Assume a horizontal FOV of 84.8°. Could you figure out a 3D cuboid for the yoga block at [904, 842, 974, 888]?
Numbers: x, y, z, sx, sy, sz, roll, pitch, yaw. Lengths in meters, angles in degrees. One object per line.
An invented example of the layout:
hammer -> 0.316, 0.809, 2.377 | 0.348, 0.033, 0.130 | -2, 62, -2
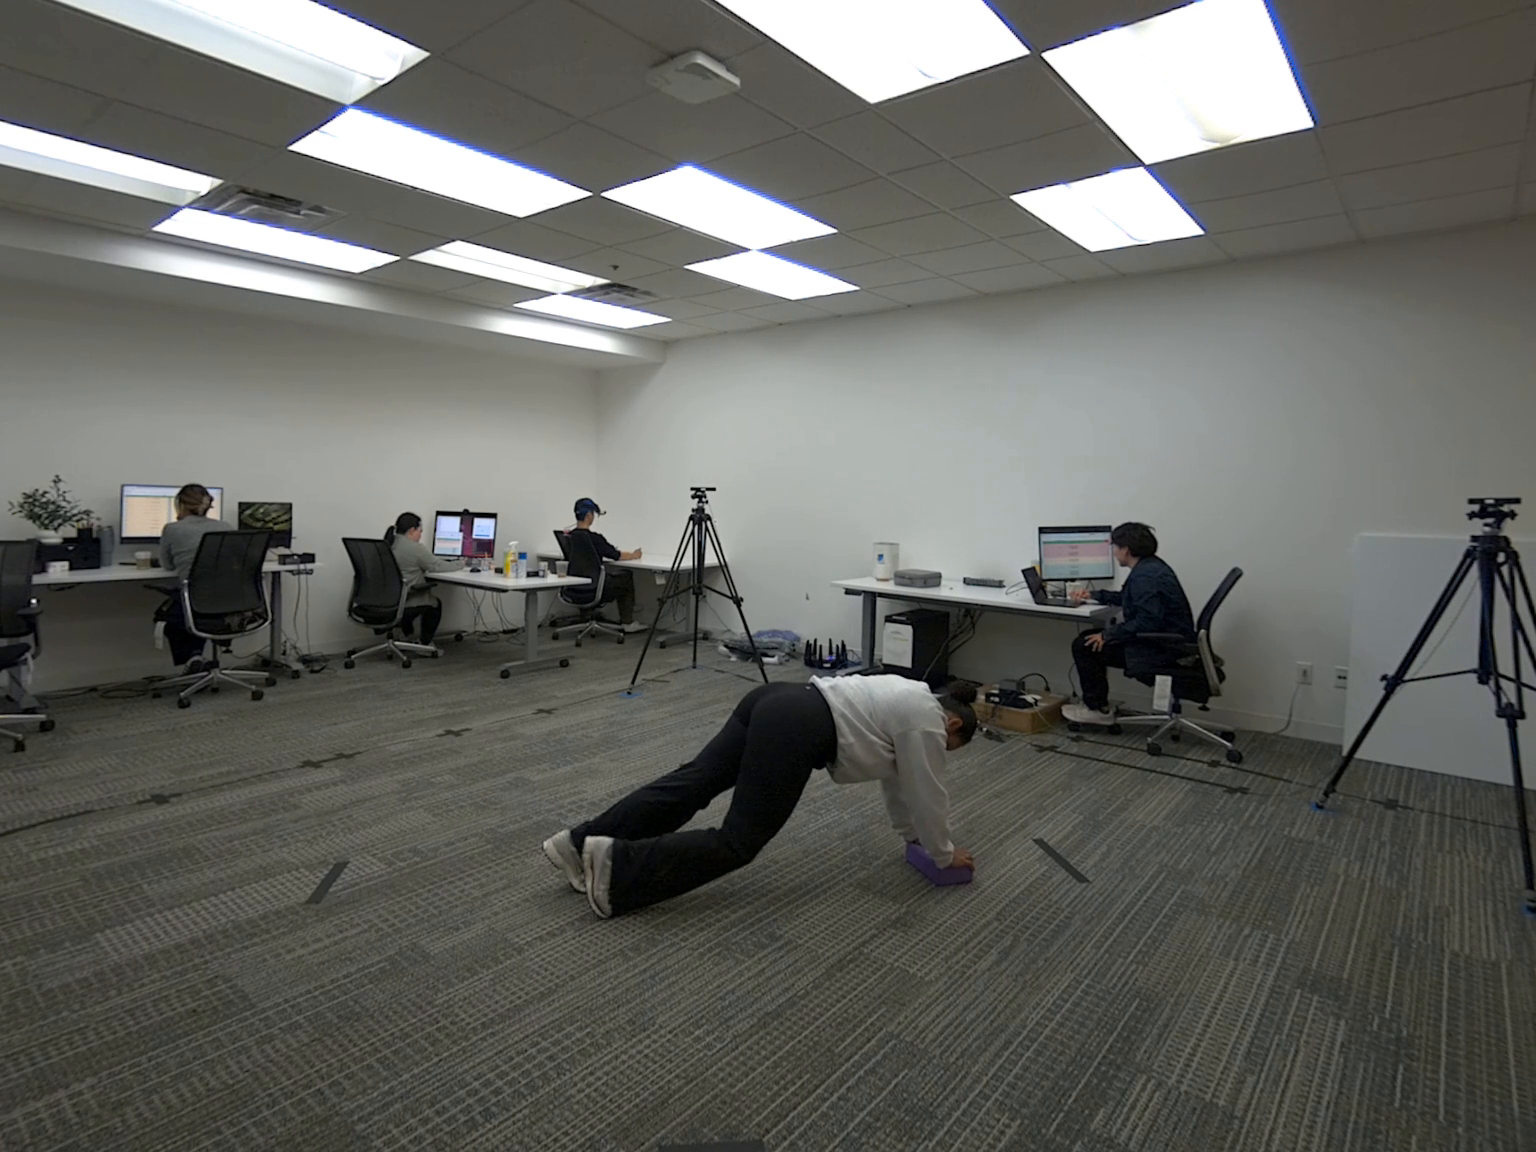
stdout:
yoga block -> 0.624, 1.055, 3.138 | 0.146, 0.076, 0.234 | 0, 5, -19
